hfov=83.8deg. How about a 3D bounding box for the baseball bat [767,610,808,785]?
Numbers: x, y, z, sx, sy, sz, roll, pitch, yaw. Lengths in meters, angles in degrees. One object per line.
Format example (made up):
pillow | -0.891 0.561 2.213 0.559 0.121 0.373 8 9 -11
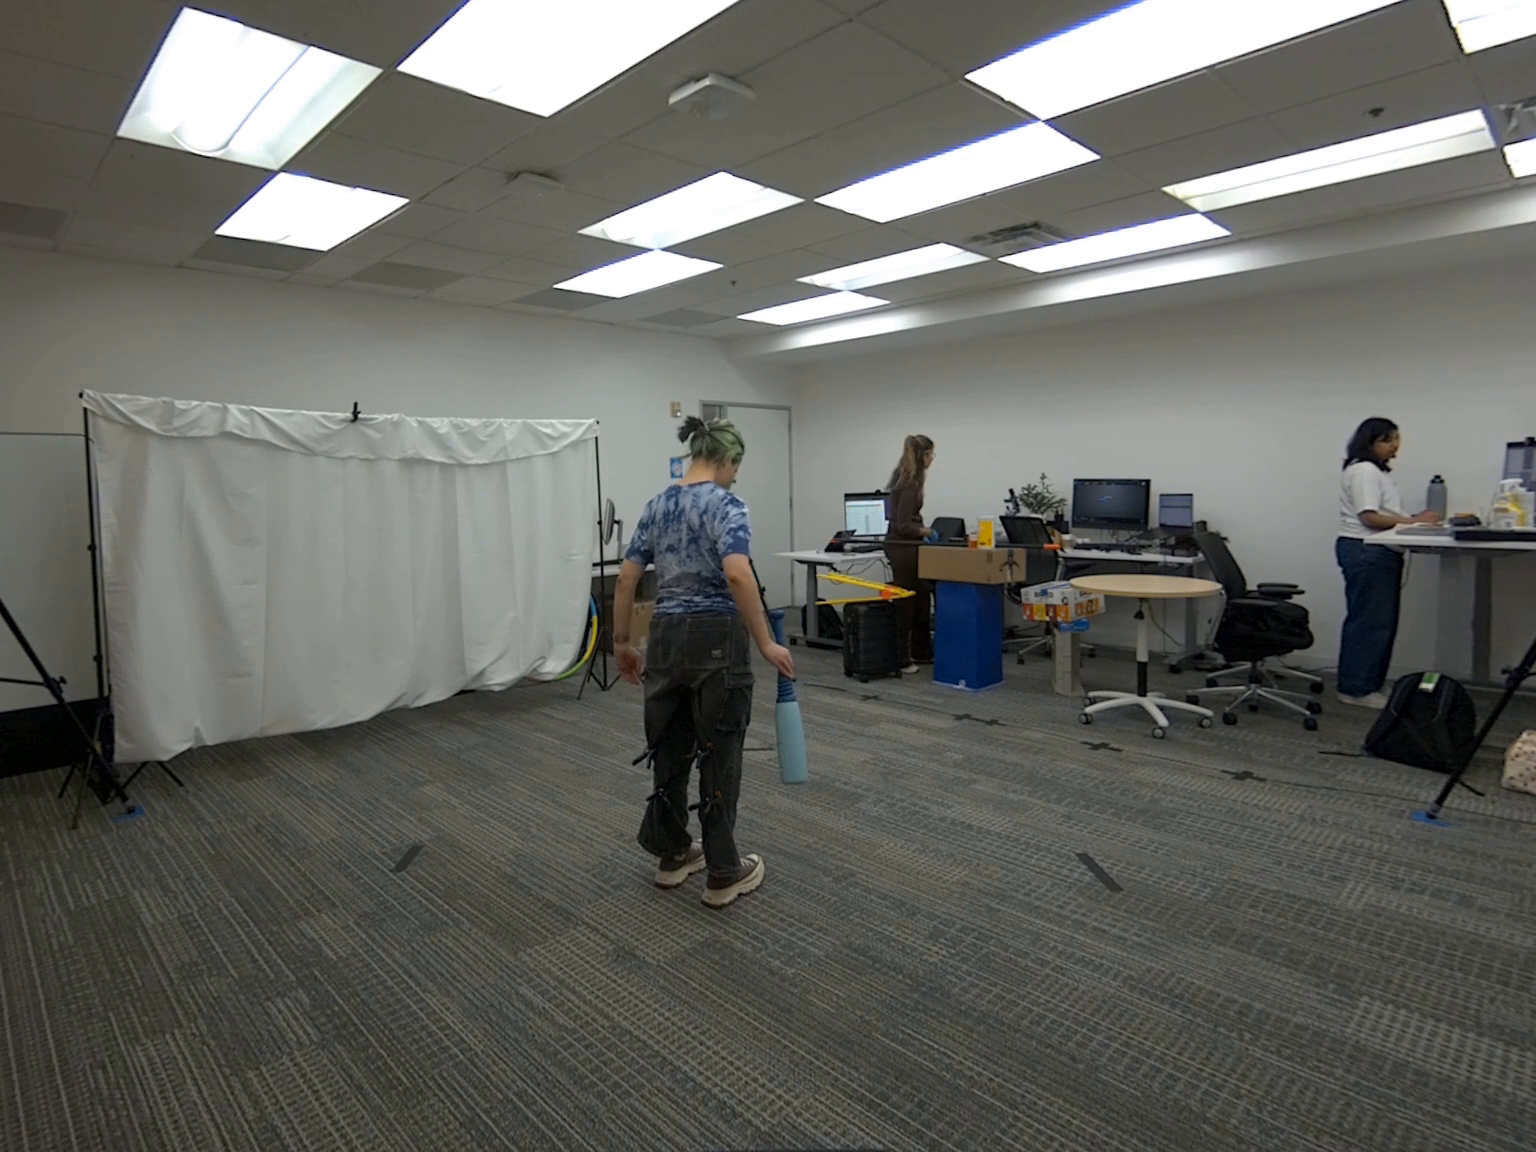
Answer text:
baseball bat | 0.055 0.383 2.722 0.089 0.550 0.088 -6 -12 -3
